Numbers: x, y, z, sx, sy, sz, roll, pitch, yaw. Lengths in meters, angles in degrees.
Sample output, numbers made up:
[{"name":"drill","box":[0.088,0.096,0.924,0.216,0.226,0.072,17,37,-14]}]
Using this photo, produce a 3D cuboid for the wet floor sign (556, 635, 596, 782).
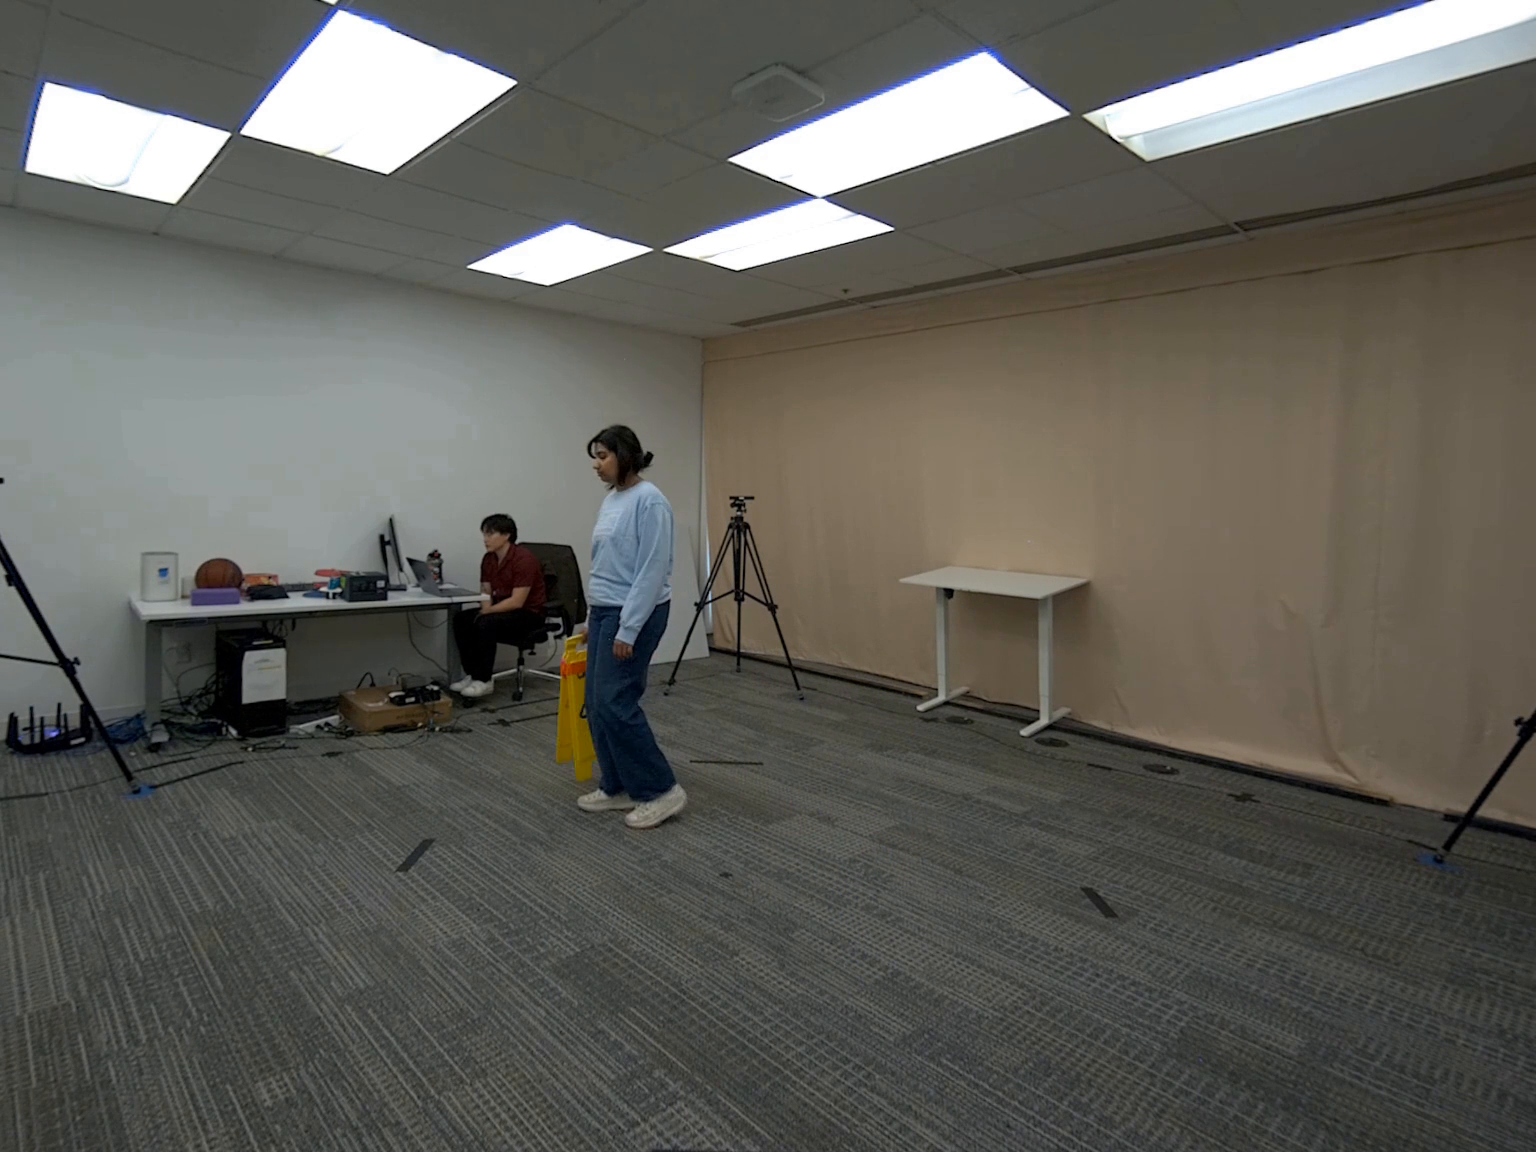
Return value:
[{"name":"wet floor sign","box":[-0.848,0.591,3.972,0.277,0.640,0.297,-10,14,-34]}]
